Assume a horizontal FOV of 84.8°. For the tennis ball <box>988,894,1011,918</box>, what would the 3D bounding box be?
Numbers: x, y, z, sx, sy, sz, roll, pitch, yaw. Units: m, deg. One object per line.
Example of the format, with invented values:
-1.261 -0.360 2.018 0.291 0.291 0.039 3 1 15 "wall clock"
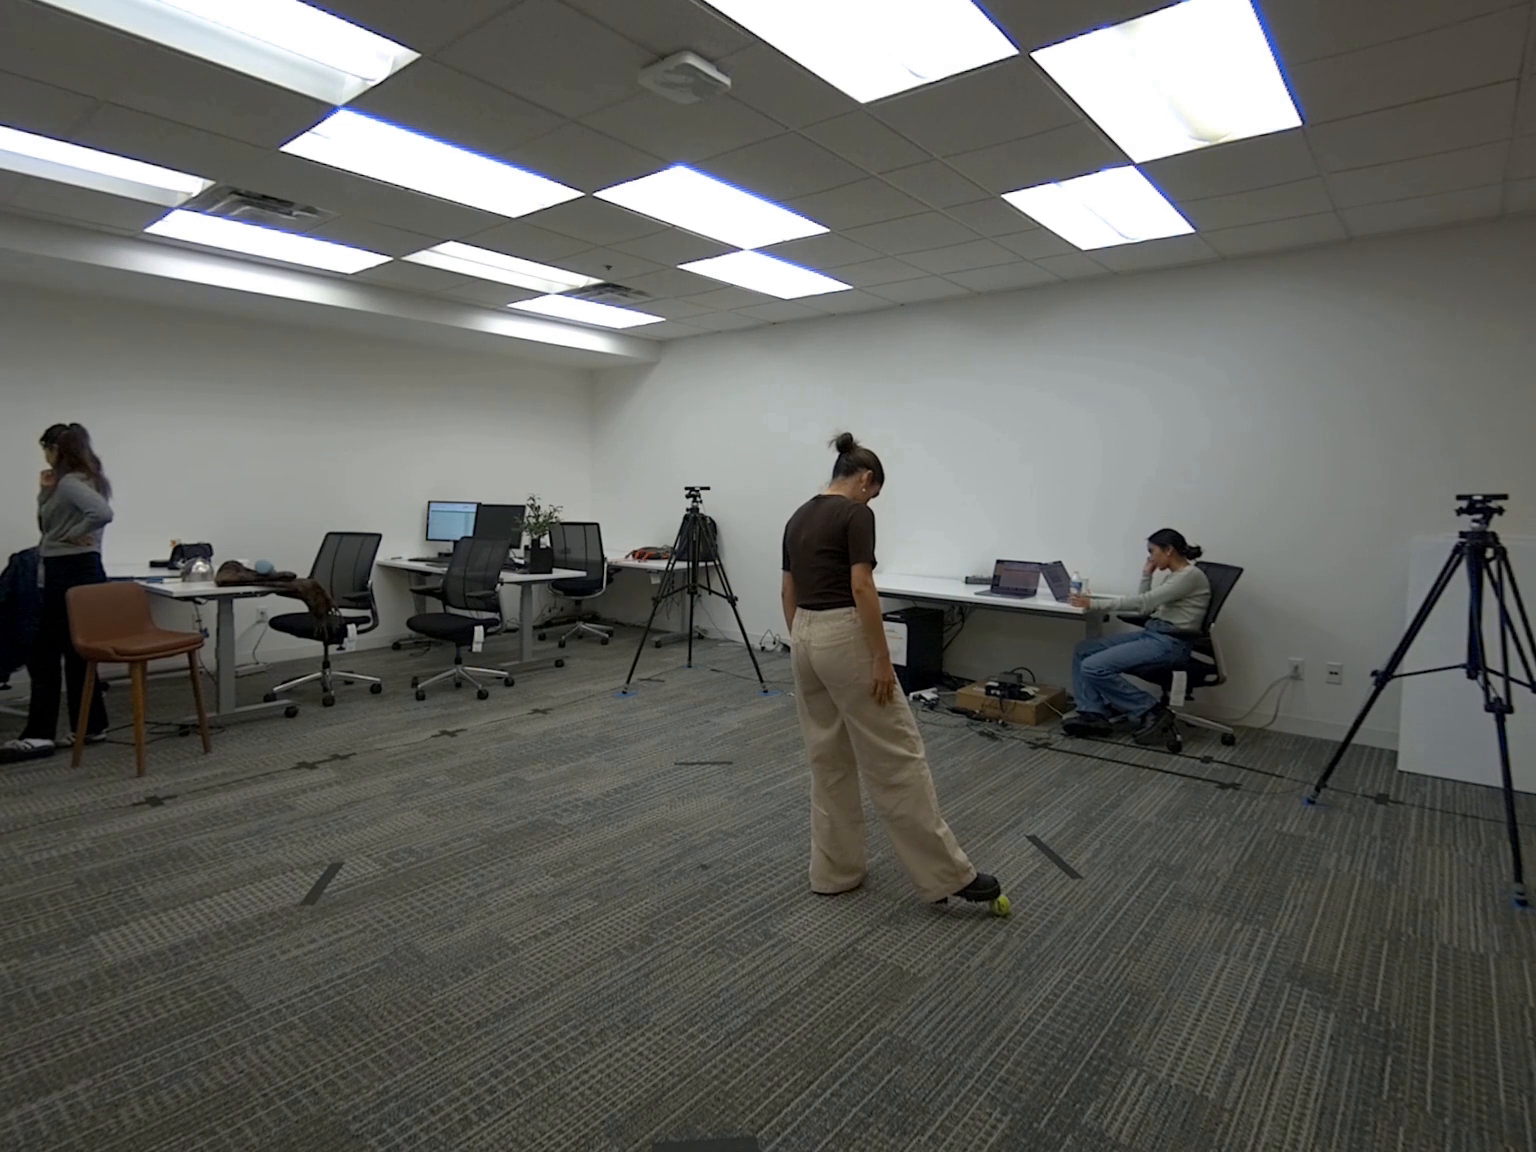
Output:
0.761 1.087 2.817 0.066 0.066 0.067 1 4 -2 "tennis ball"
